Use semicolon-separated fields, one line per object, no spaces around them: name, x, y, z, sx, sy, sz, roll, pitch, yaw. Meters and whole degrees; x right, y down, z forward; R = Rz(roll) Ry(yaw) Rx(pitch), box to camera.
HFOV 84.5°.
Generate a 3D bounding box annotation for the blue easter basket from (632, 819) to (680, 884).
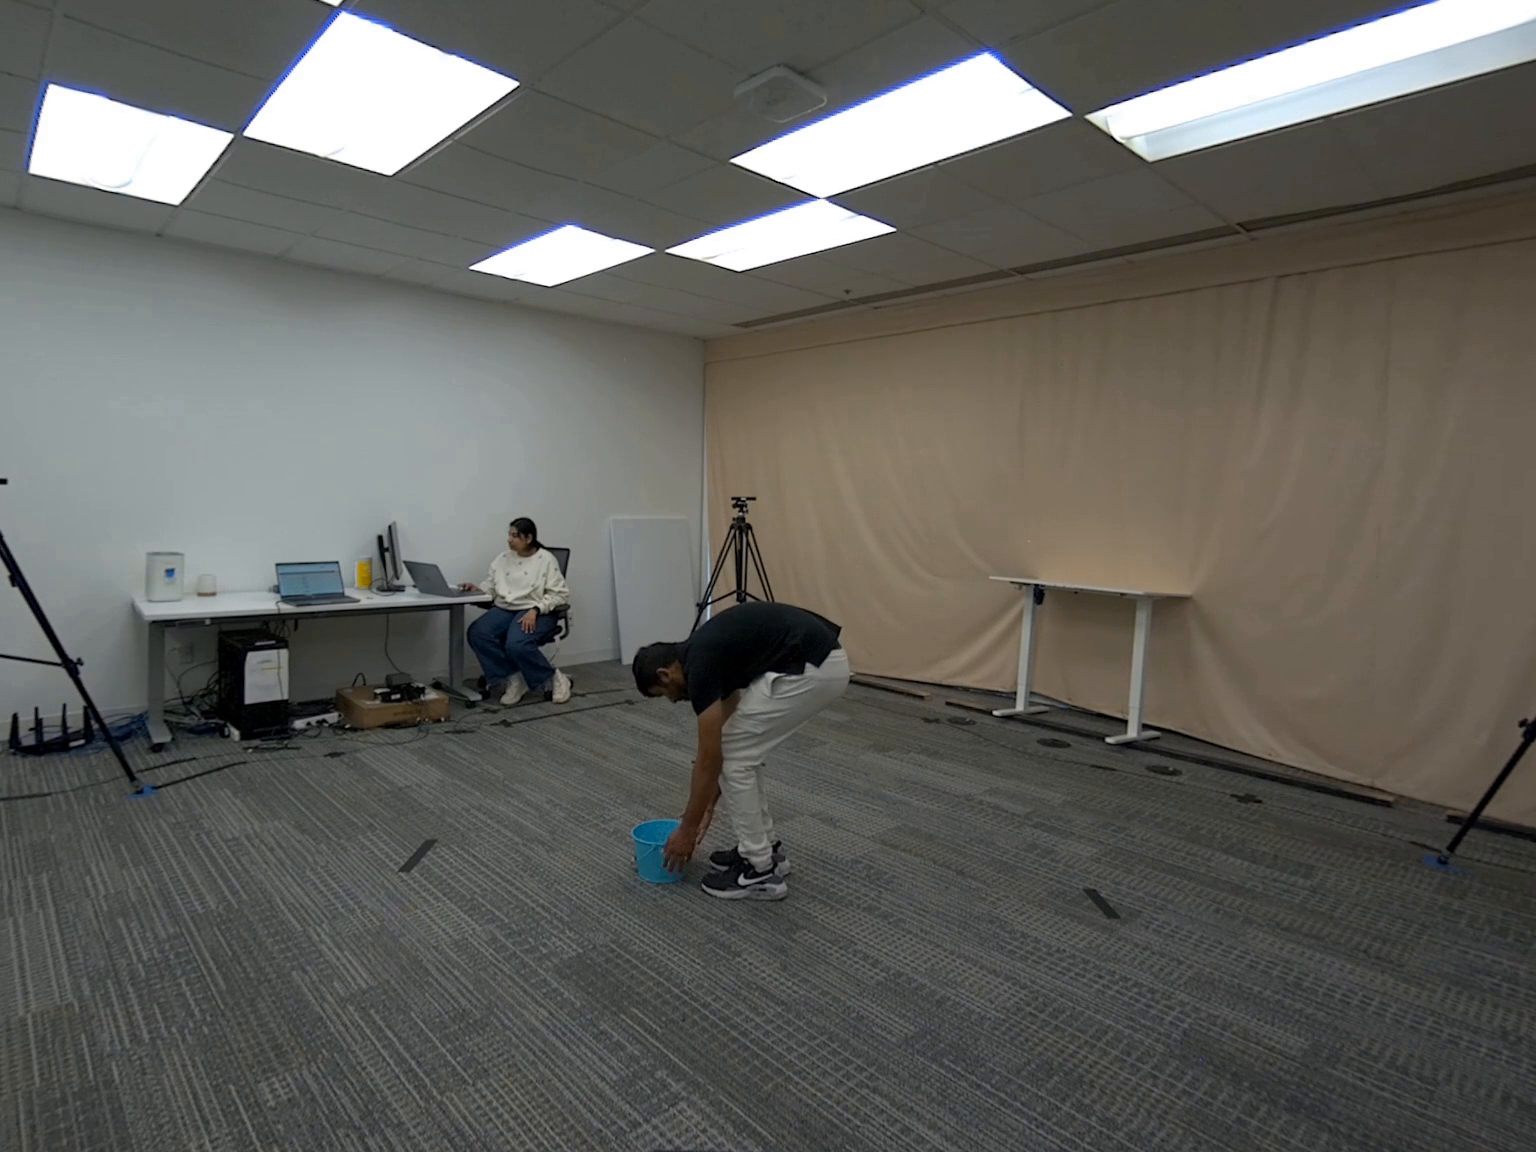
blue easter basket;-0.396;1.021;3.130;0.243;0.155;0.244;1;4;-1
